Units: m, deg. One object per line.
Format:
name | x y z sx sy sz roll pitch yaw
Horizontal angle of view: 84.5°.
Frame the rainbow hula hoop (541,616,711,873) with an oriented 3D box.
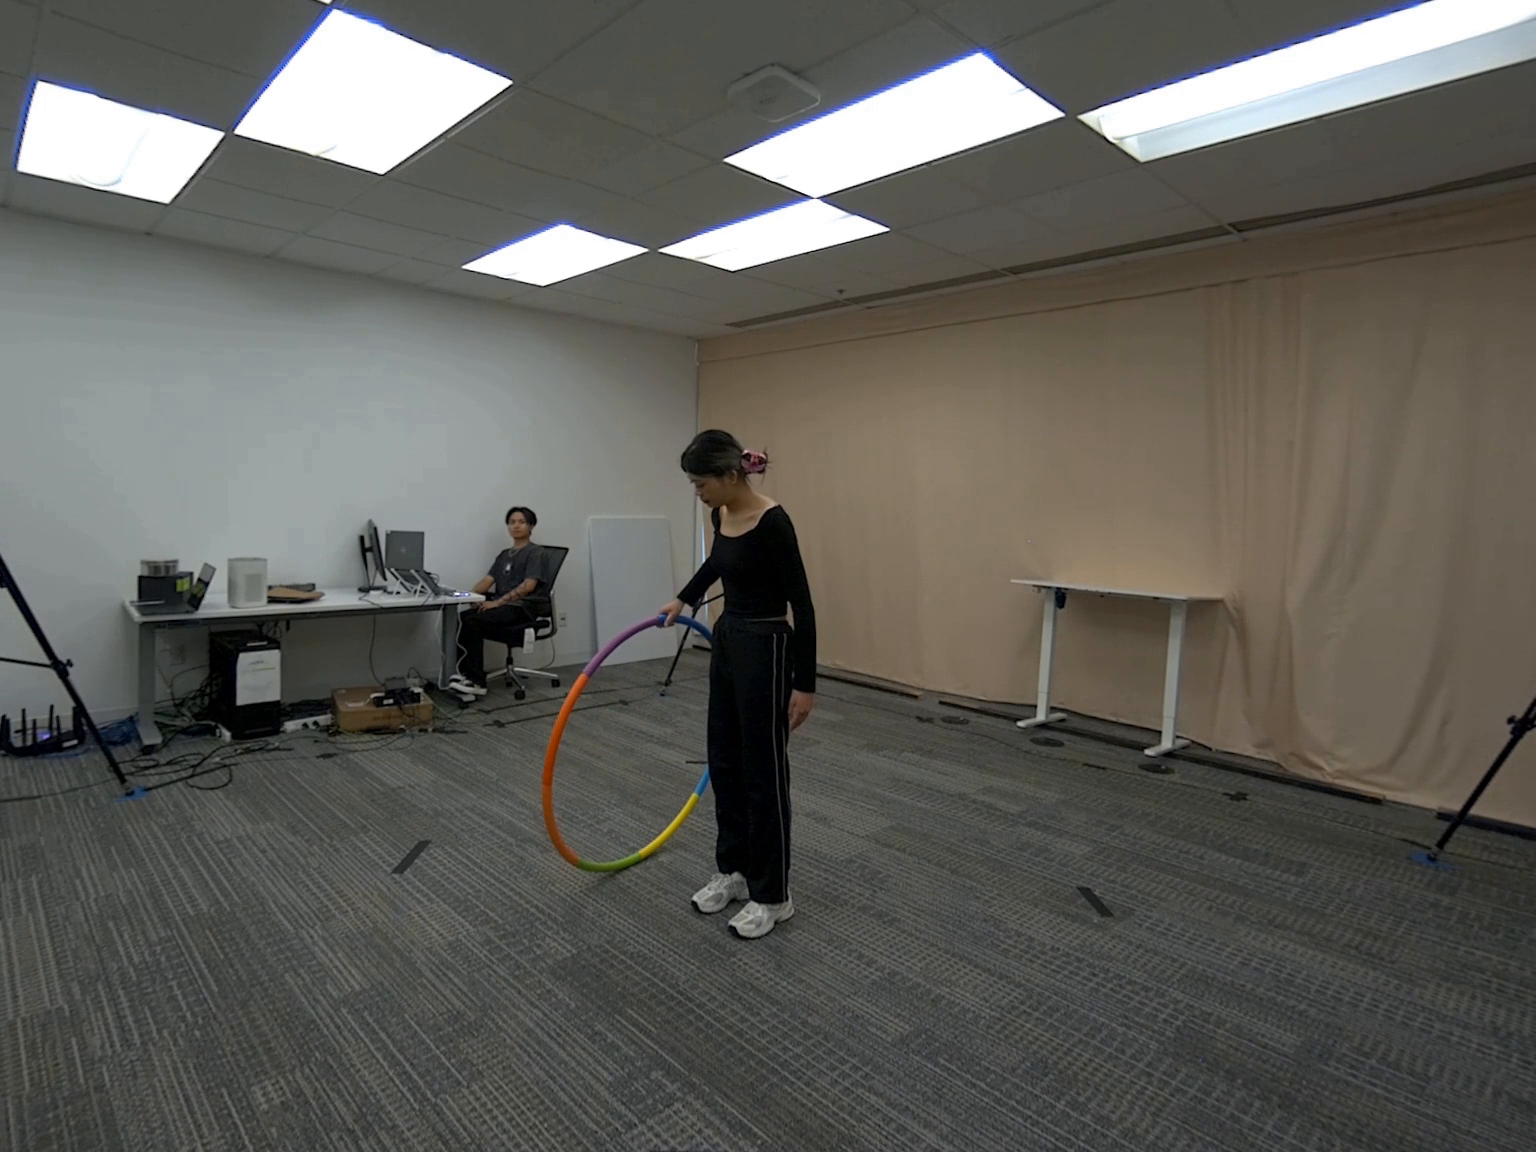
rainbow hula hoop | -0.451 0.616 3.120 0.036 0.973 0.958 14 10 32
